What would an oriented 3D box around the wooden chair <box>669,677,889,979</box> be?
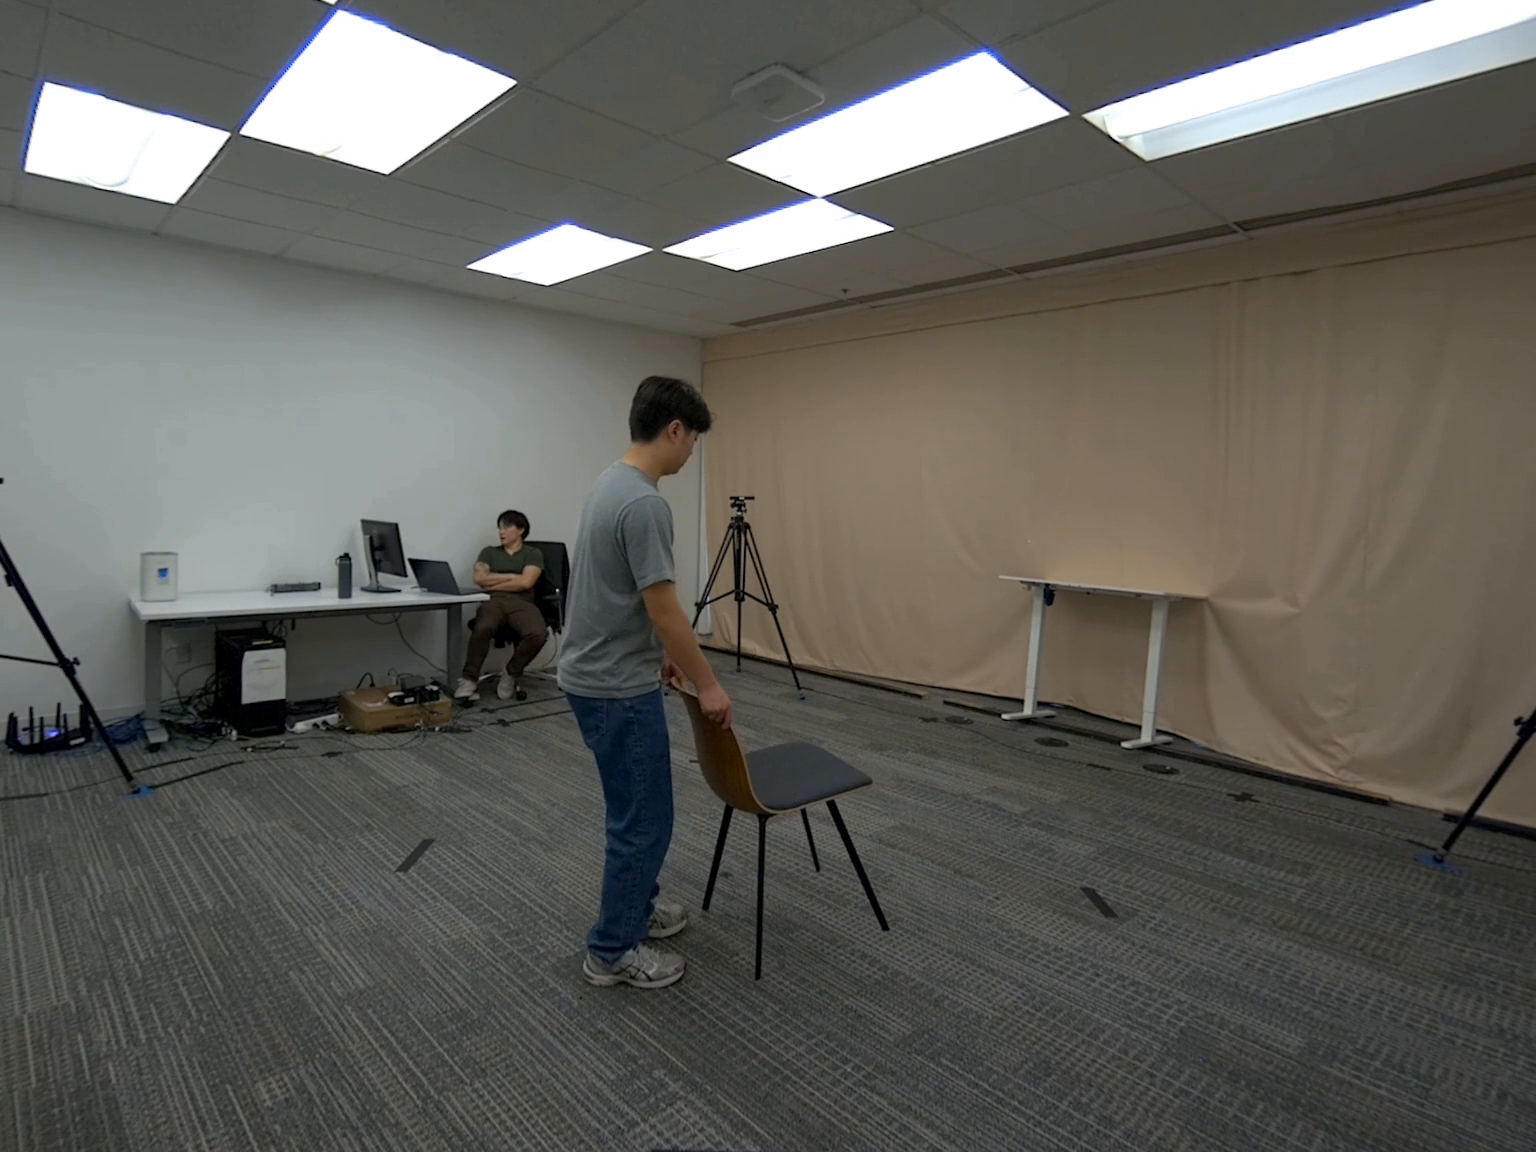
[{"bbox_3d":[0.030,0.691,2.671,0.517,0.871,0.487,-14,9,-22],"label":"wooden chair"}]
